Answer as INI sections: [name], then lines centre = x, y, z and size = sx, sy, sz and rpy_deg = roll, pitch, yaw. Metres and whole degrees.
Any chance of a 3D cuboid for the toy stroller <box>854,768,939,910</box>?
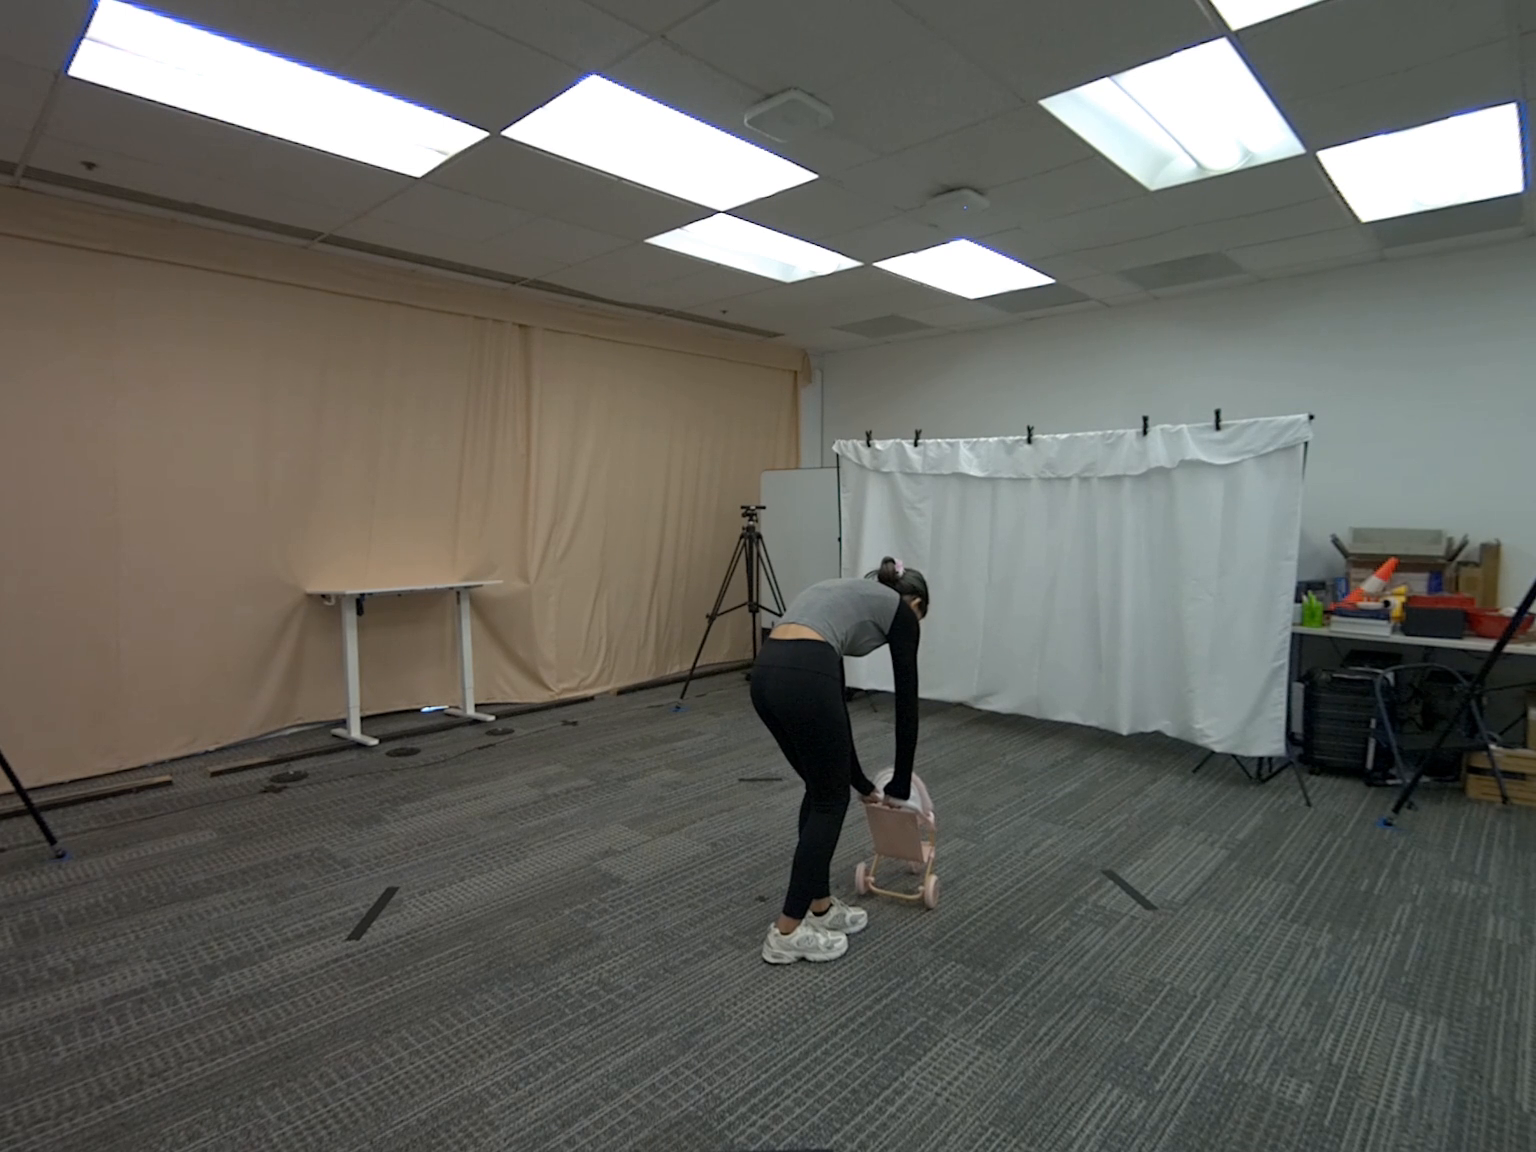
[toy stroller]
centre = 0.480, 0.915, 3.011
size = 0.289, 0.528, 0.336
rpy_deg = 2, 20, 28
